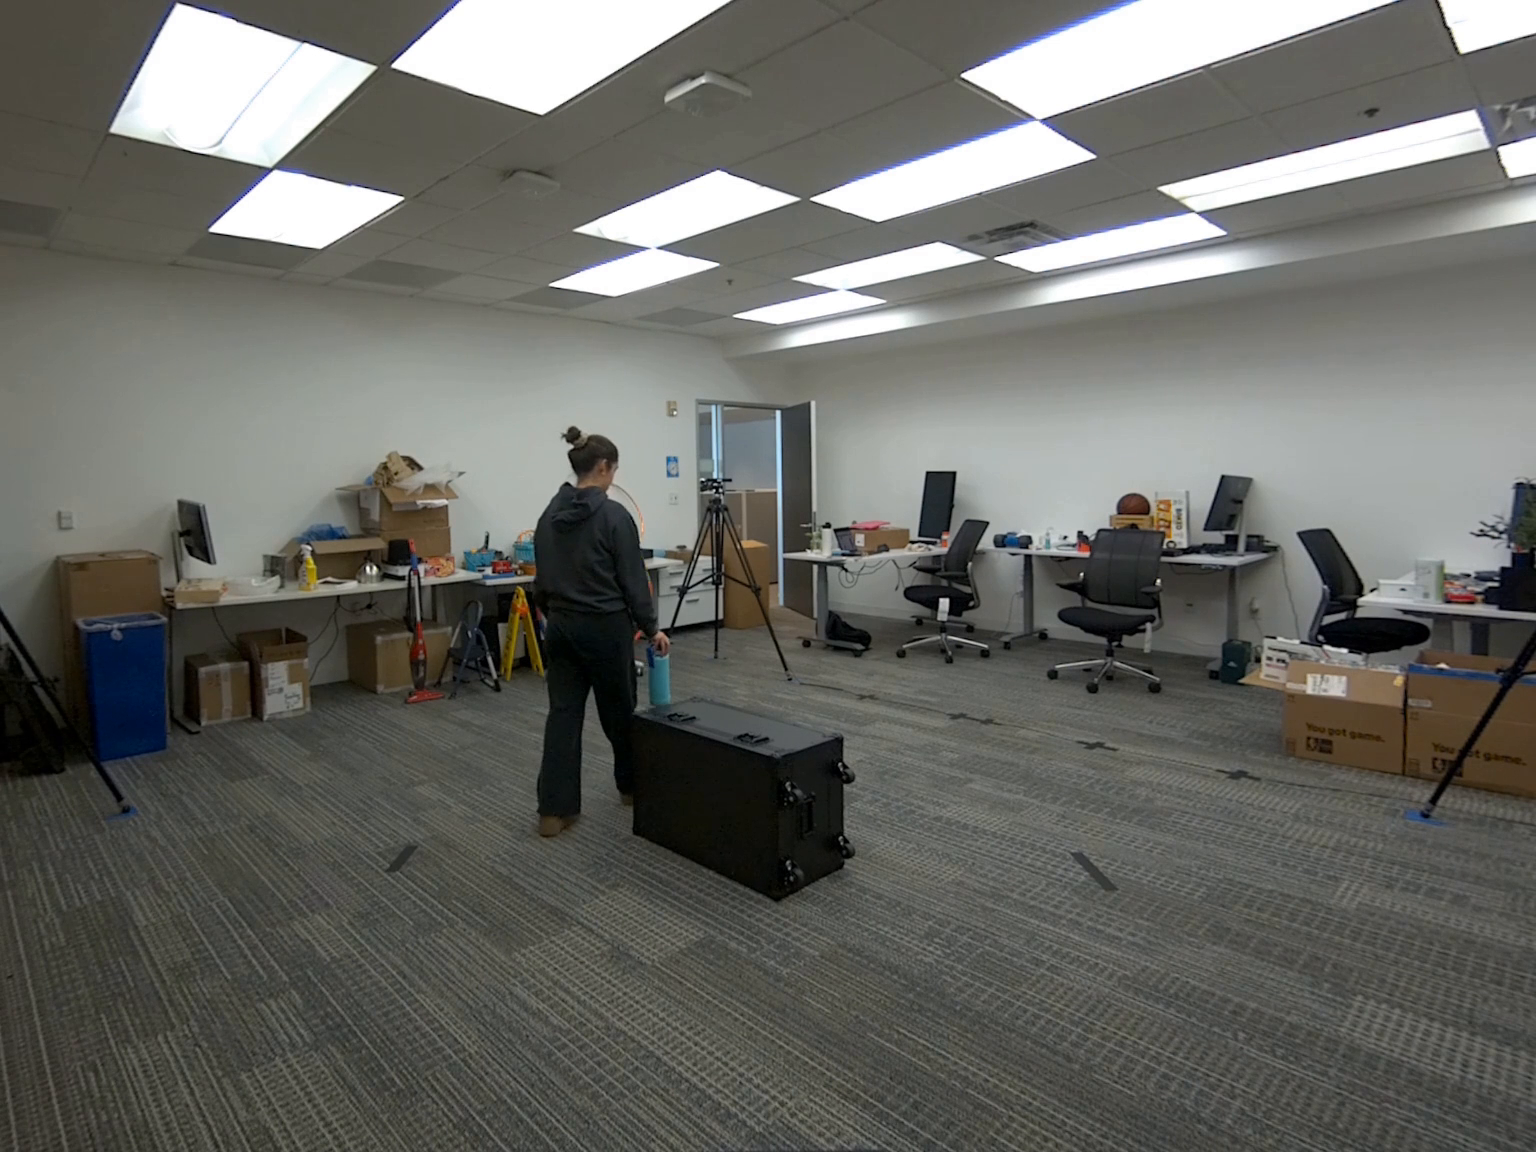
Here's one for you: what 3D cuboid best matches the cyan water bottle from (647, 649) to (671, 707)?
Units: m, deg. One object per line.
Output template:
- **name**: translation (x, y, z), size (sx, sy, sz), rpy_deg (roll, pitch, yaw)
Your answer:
- **cyan water bottle**: translation (-0.470, 0.414, 3.620), size (0.092, 0.280, 0.093), rpy_deg (1, 13, -2)
